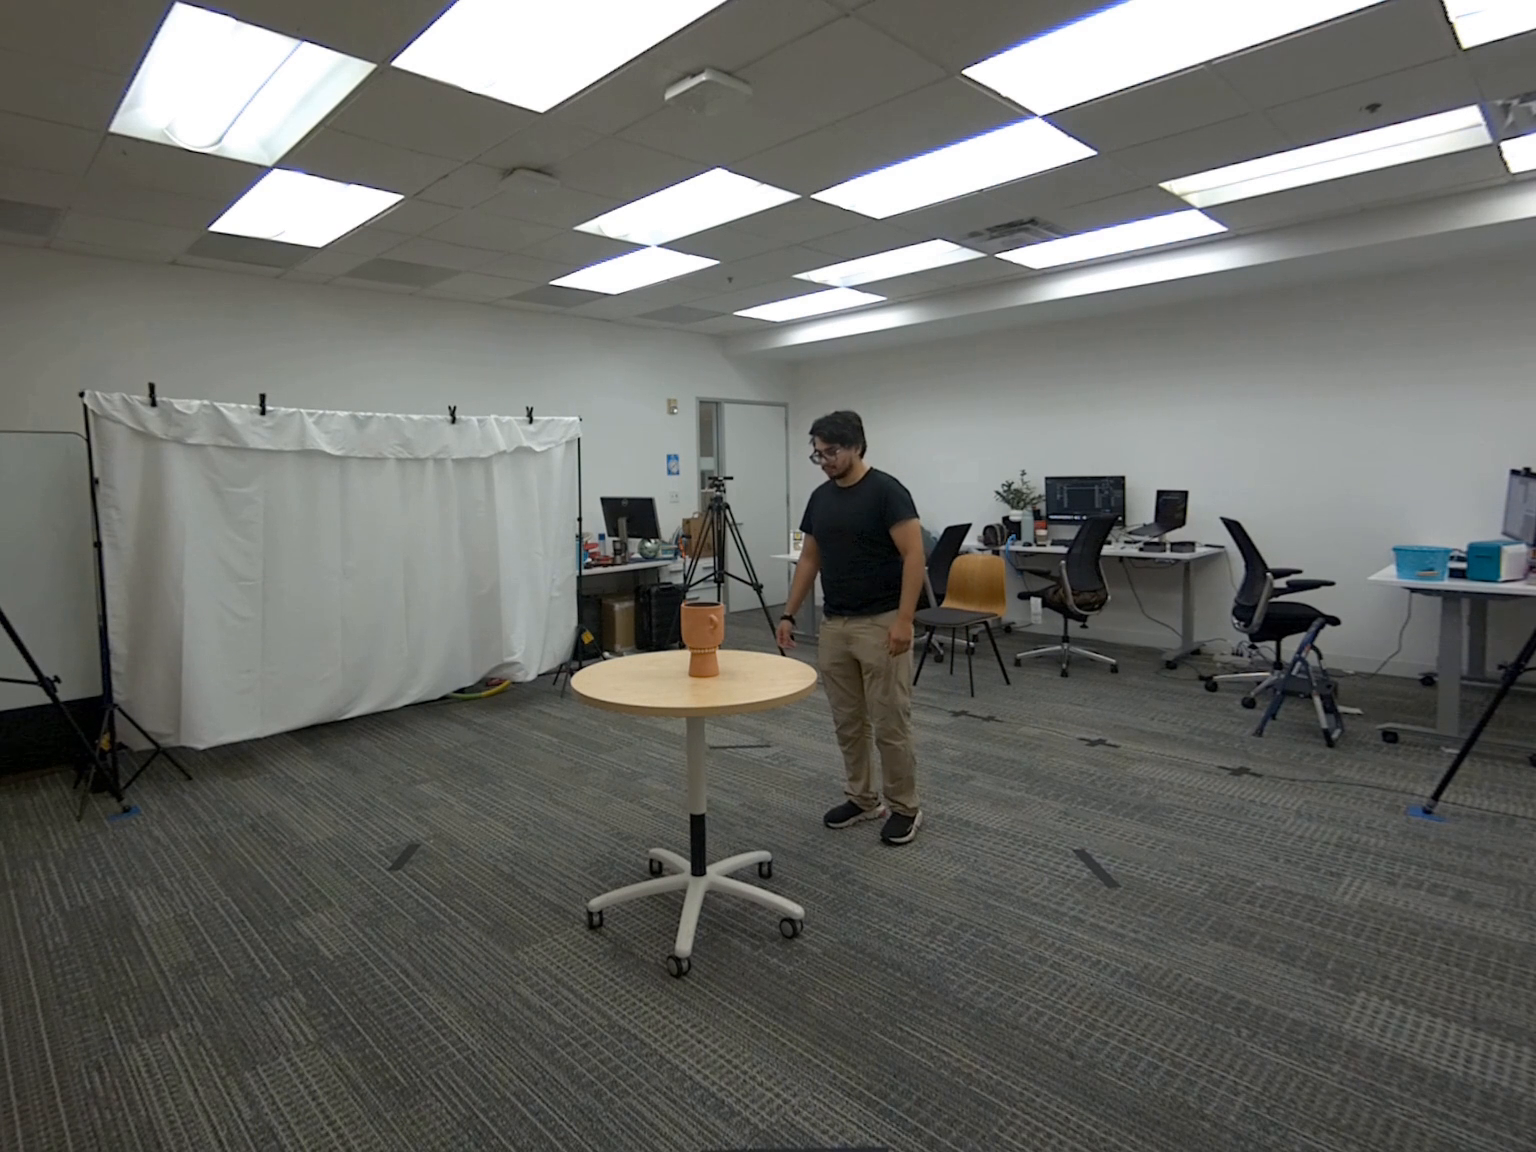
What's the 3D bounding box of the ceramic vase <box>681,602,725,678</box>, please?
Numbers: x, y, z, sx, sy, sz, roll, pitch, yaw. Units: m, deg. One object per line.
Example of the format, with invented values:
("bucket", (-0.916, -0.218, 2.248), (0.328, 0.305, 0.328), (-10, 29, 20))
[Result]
("ceramic vase", (-0.202, 0.202, 2.663), (0.136, 0.219, 0.158), (1, 5, 10))
